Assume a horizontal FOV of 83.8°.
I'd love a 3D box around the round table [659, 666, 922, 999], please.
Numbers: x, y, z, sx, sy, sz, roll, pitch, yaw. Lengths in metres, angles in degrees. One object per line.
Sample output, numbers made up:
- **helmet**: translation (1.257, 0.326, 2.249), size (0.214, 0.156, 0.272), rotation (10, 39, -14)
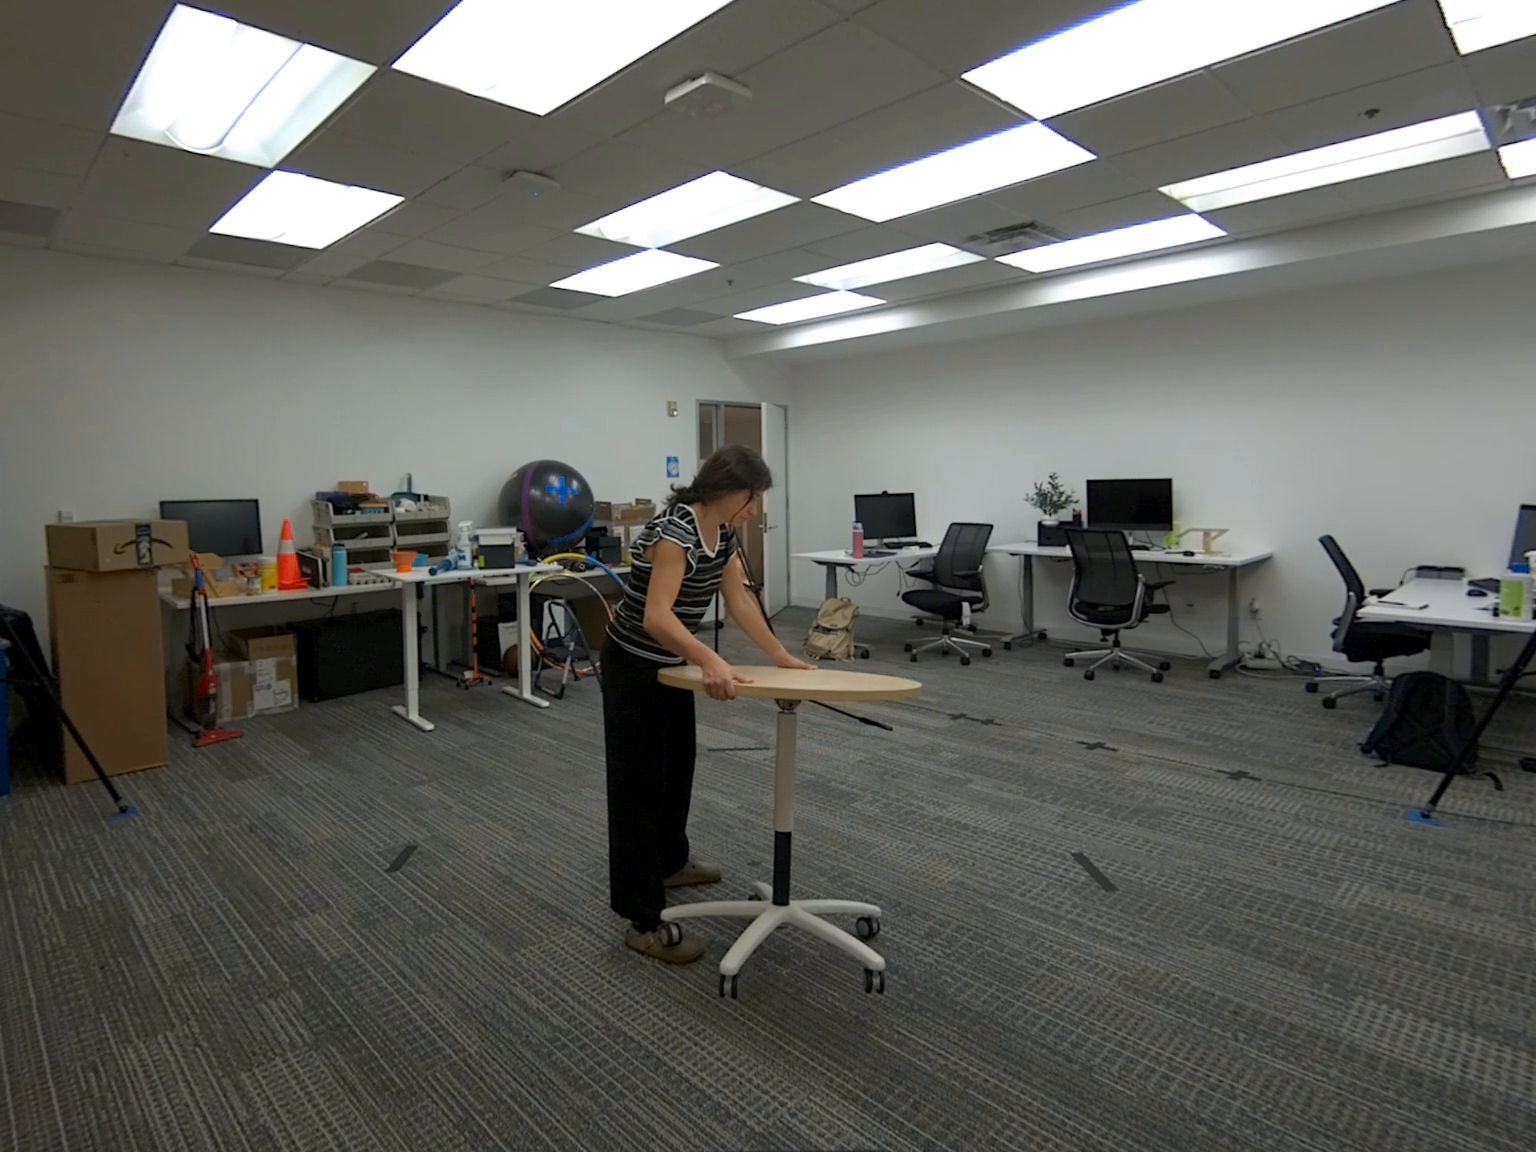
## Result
- **round table**: translation (0.061, 0.693, 2.465), size (0.763, 0.797, 0.762), rotation (2, -3, -2)
